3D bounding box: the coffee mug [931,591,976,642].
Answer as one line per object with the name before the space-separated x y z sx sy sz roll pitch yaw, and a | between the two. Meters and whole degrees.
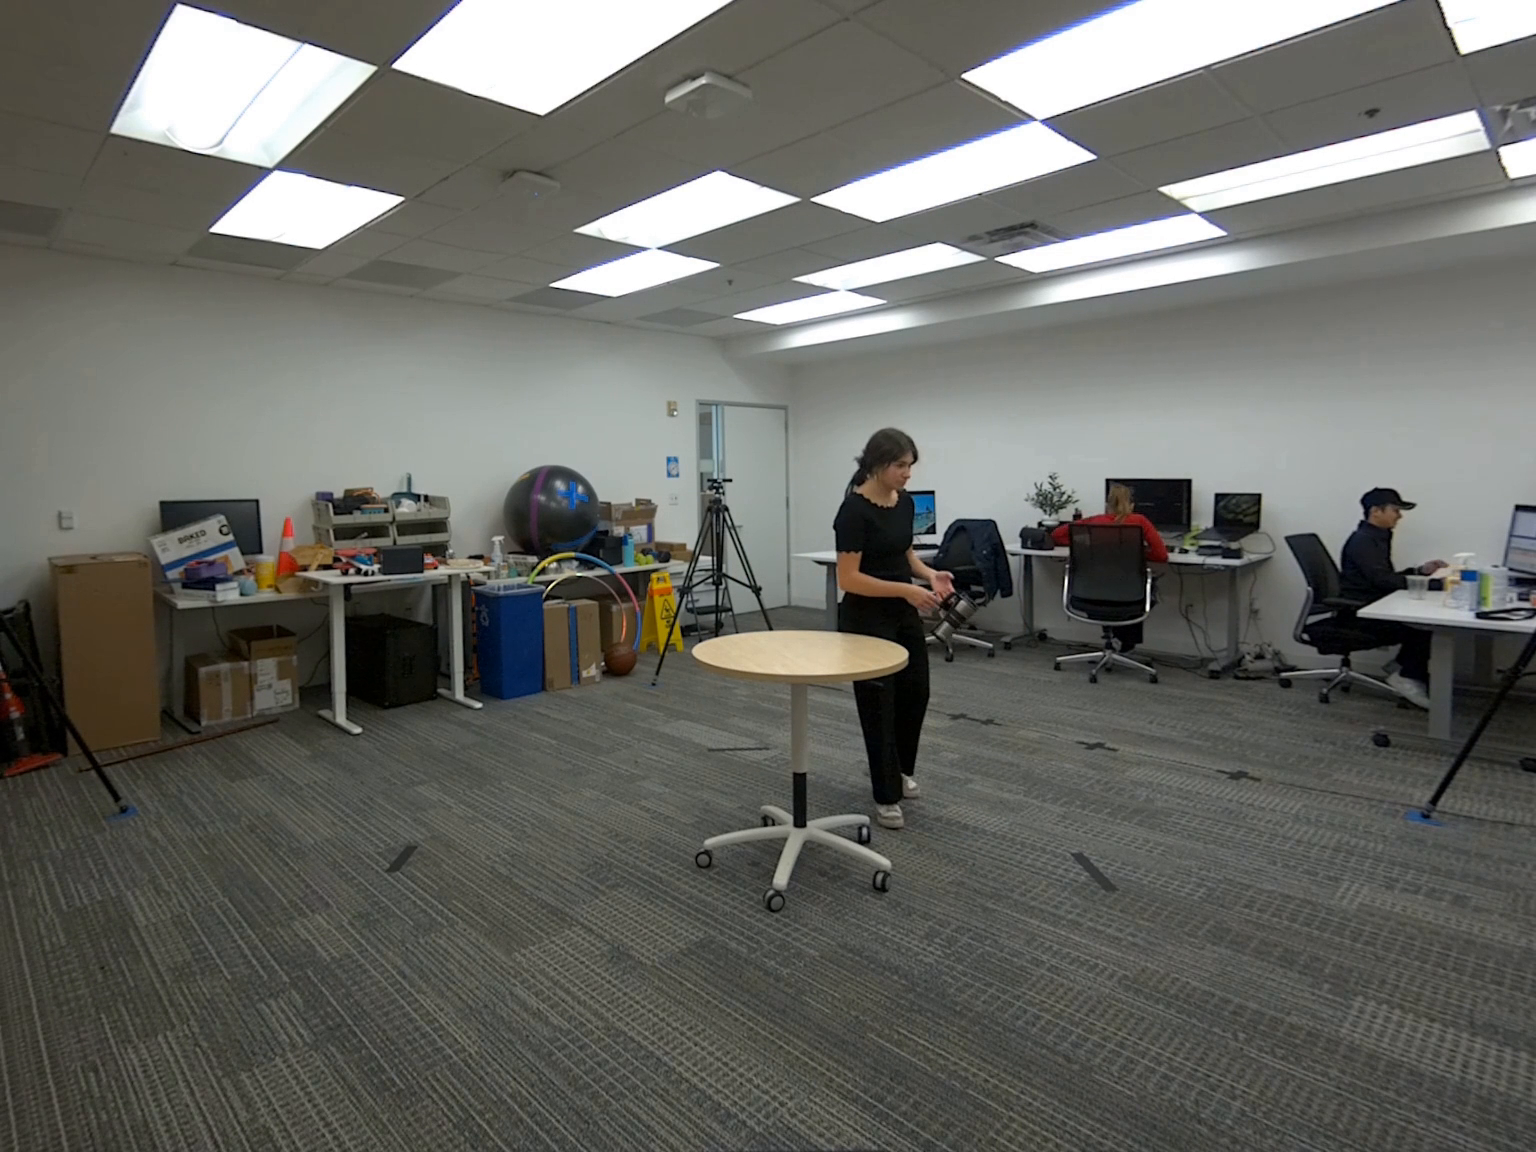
coffee mug | 0.738 0.172 3.343 0.091 0.203 0.117 40 9 40
